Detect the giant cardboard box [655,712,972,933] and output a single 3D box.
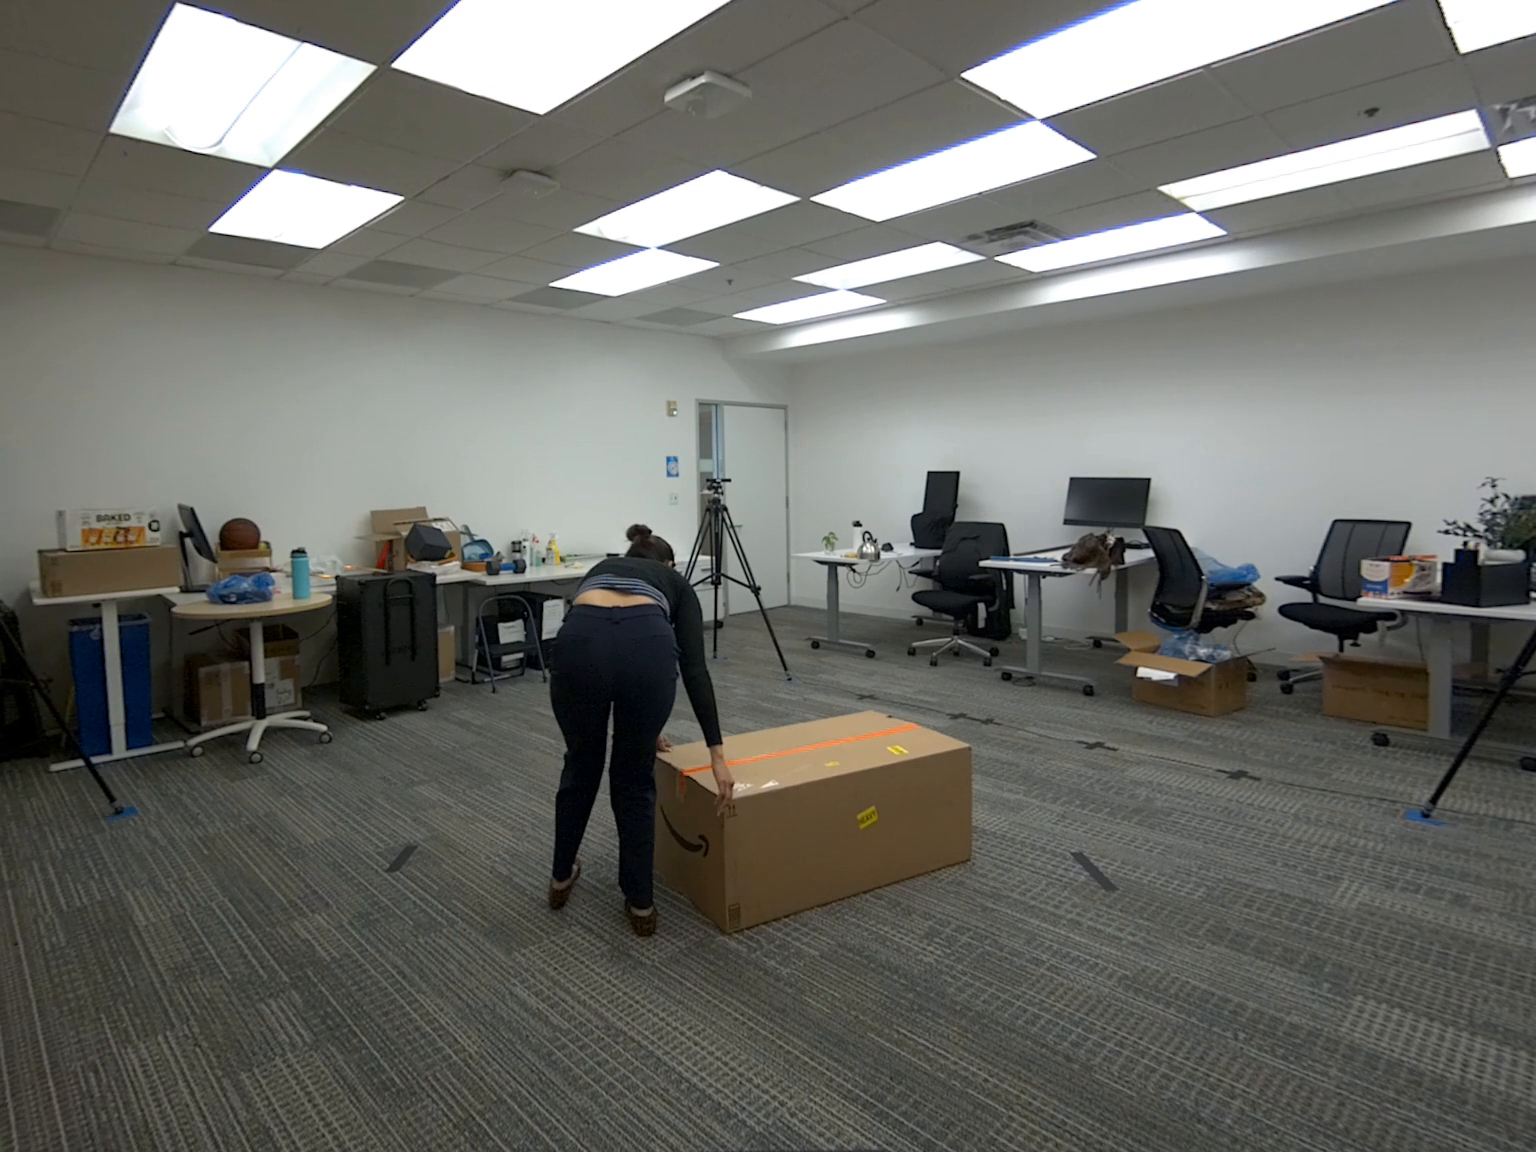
[{"bbox_3d":[0.153,0.825,3.096,1.002,0.424,0.594,-4,7,-30],"label":"giant cardboard box"}]
